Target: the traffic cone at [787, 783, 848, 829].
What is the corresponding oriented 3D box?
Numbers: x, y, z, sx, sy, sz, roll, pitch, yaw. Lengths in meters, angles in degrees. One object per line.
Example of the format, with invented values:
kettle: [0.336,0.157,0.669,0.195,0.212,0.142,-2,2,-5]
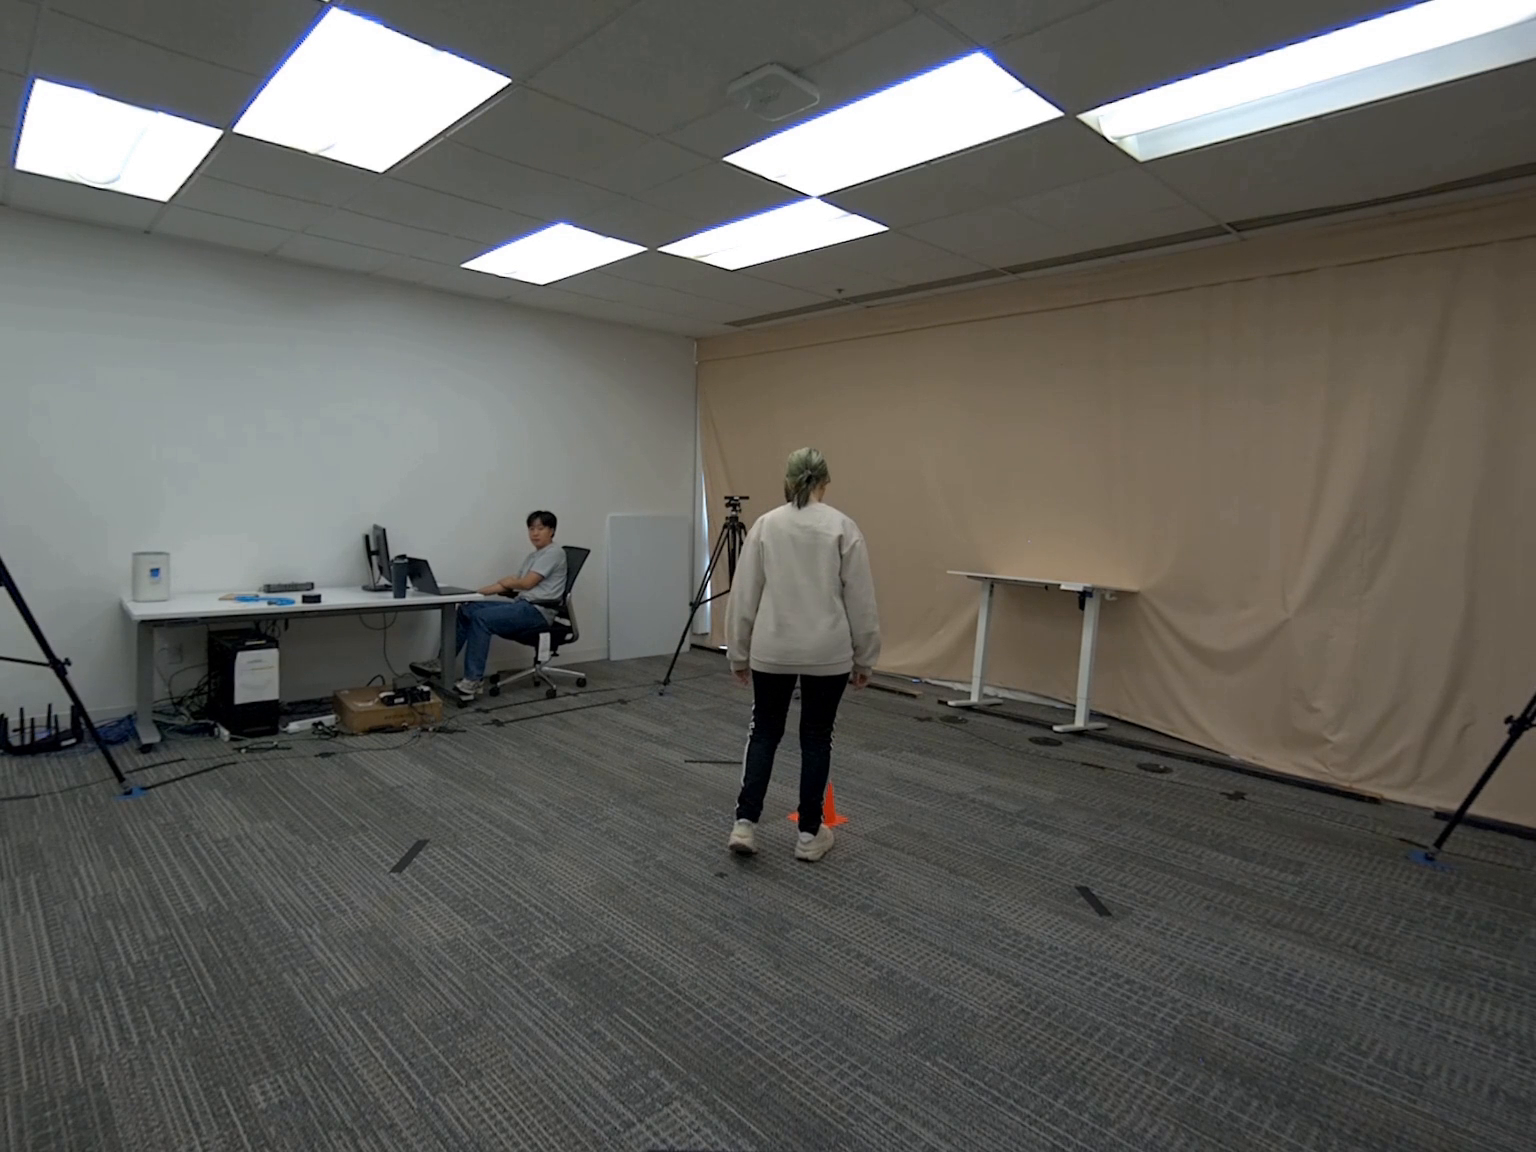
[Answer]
traffic cone: [0.219,0.879,3.676,0.199,0.382,0.210,-2,7,-41]
